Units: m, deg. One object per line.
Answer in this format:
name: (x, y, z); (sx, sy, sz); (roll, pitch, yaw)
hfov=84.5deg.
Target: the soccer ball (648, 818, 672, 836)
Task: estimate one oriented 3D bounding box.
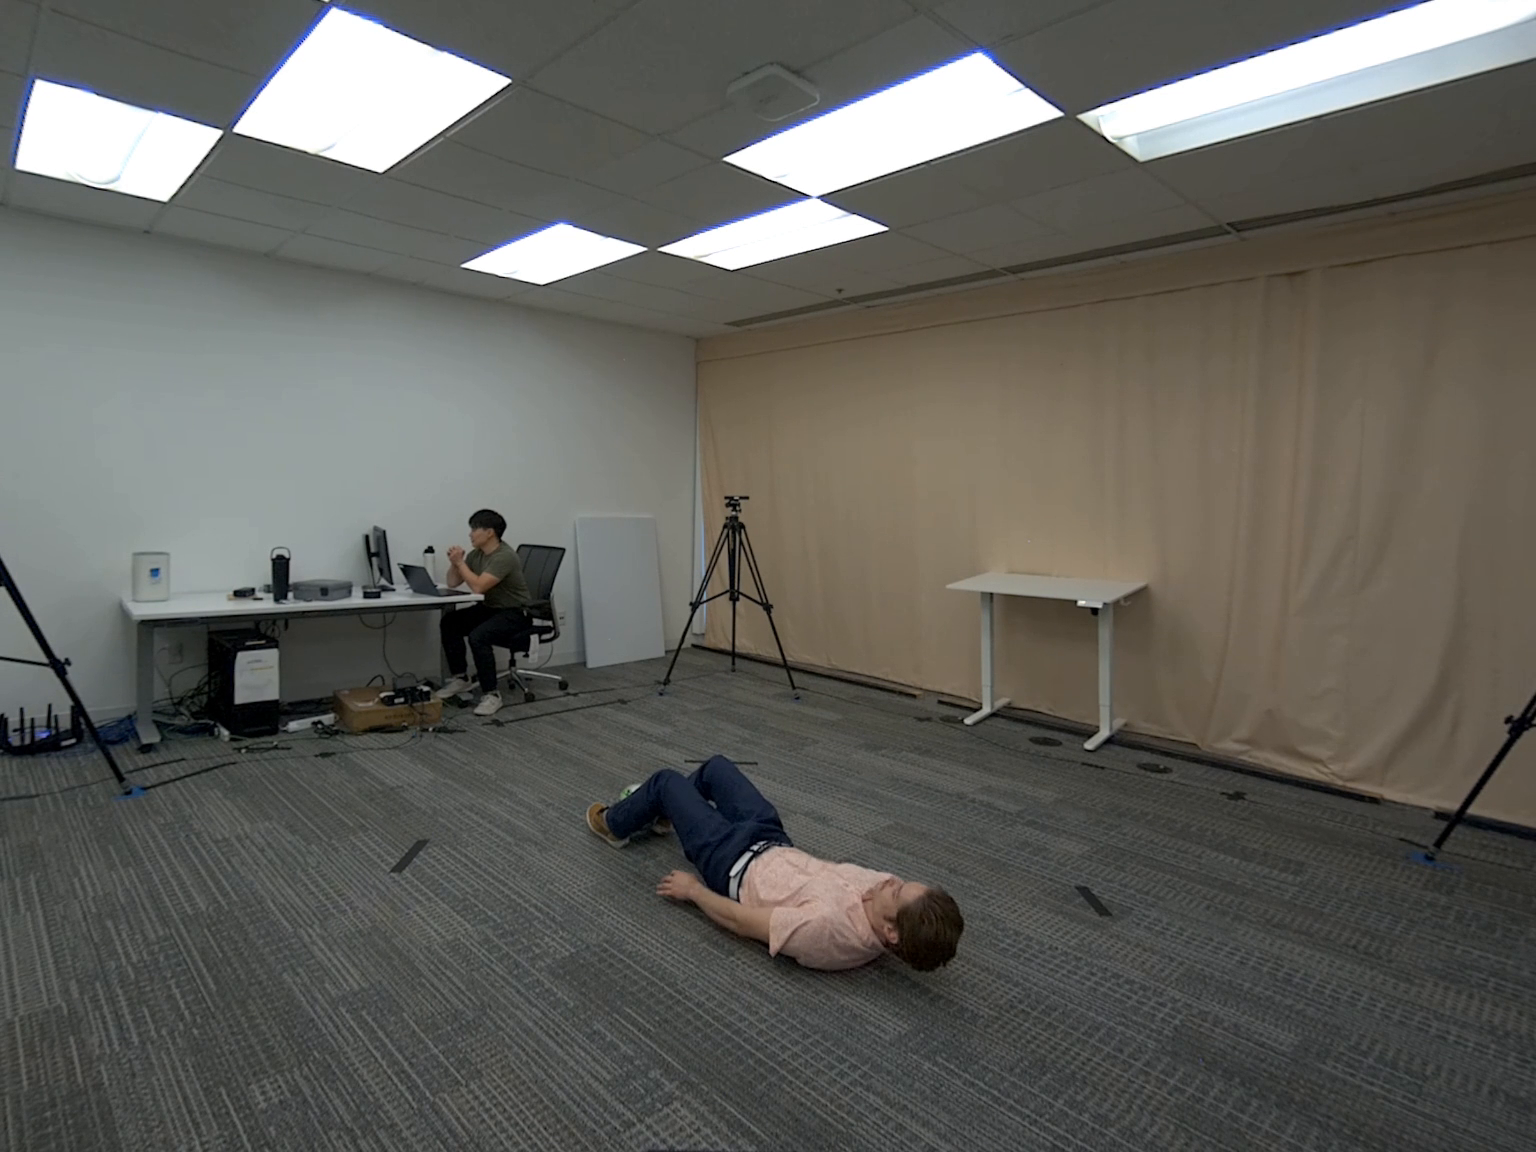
soccer ball: (-0.519, 0.933, 3.418); (0.187, 0.187, 0.188); (1, 4, -1)
